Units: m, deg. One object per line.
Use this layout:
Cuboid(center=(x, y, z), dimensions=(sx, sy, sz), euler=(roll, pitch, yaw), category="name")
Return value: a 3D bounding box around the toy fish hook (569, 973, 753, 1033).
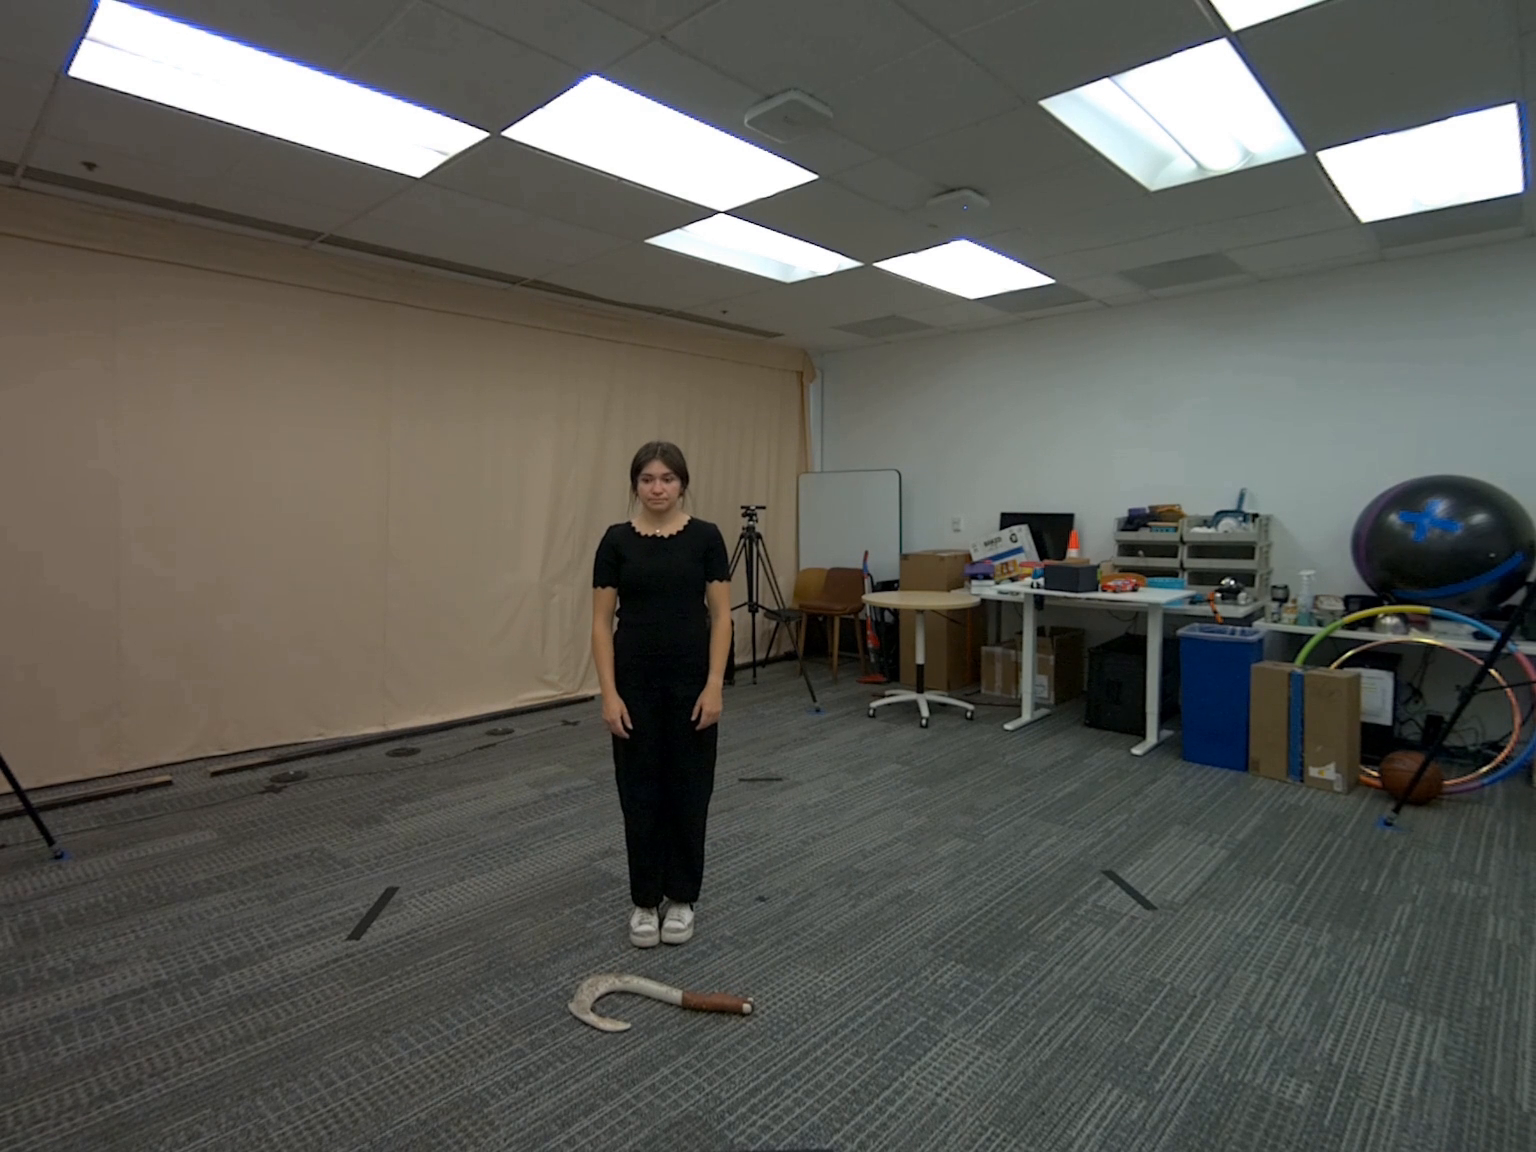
Cuboid(center=(-0.290, 1.184, 2.309), dimensions=(0.514, 0.048, 0.223), euler=(0, 12, 14), category="toy fish hook")
